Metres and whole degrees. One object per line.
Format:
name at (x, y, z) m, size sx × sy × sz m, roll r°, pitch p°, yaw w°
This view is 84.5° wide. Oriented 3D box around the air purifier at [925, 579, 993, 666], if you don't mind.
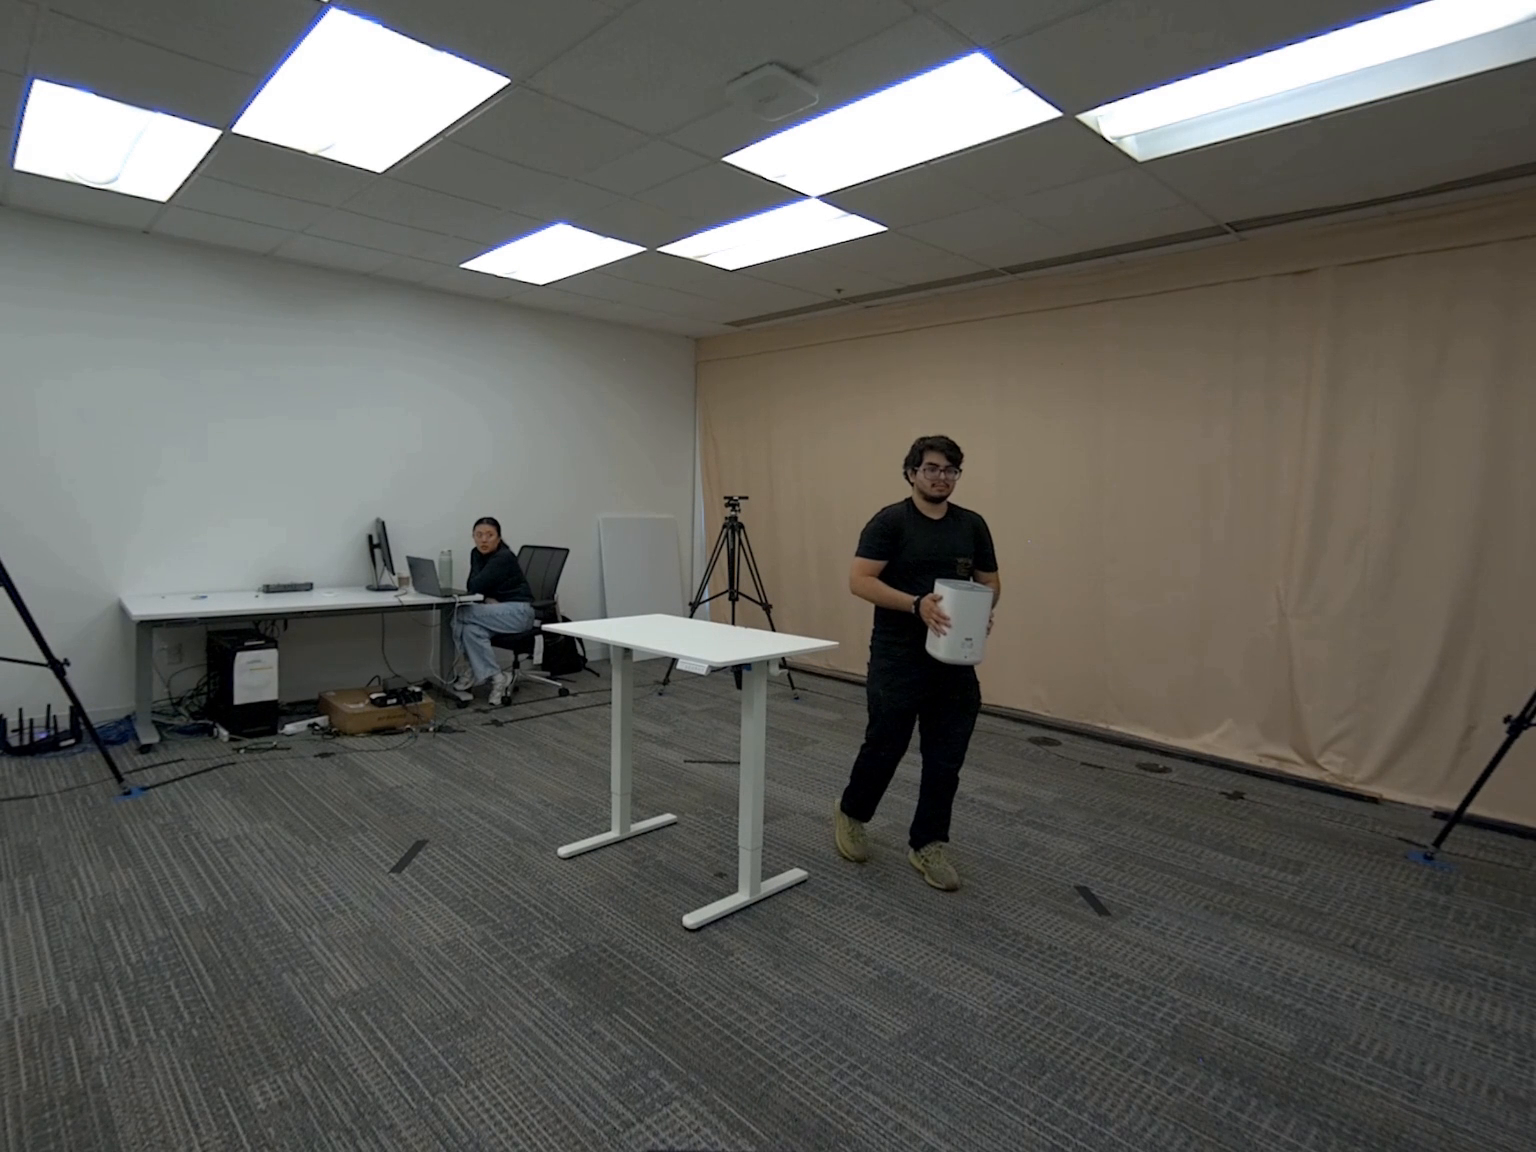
air purifier at (0.643, 0.158, 2.881) m, size 0.169 × 0.264 × 0.174 m, roll 4°, pitch 8°, yaw -13°
